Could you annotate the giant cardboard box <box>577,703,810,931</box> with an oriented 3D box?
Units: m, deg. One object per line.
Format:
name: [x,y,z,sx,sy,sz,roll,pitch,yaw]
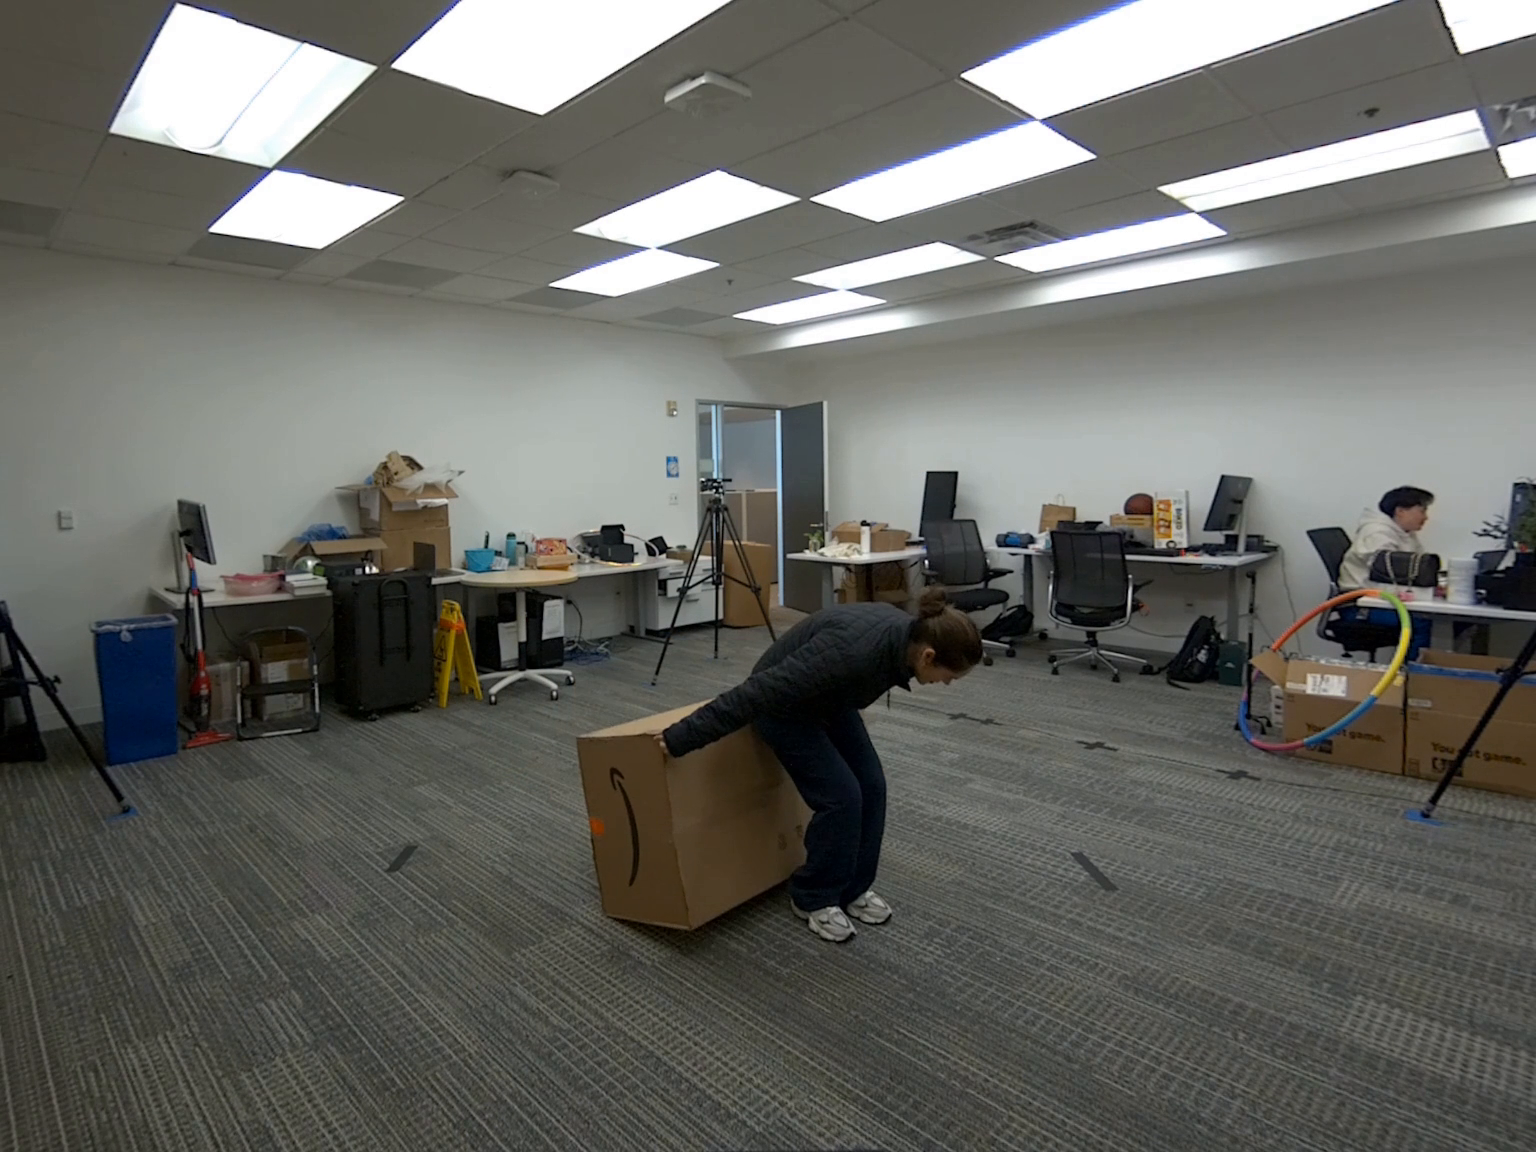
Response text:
giant cardboard box: [-0.111,0.715,3.026,0.435,0.580,0.999,-13,-4,42]
